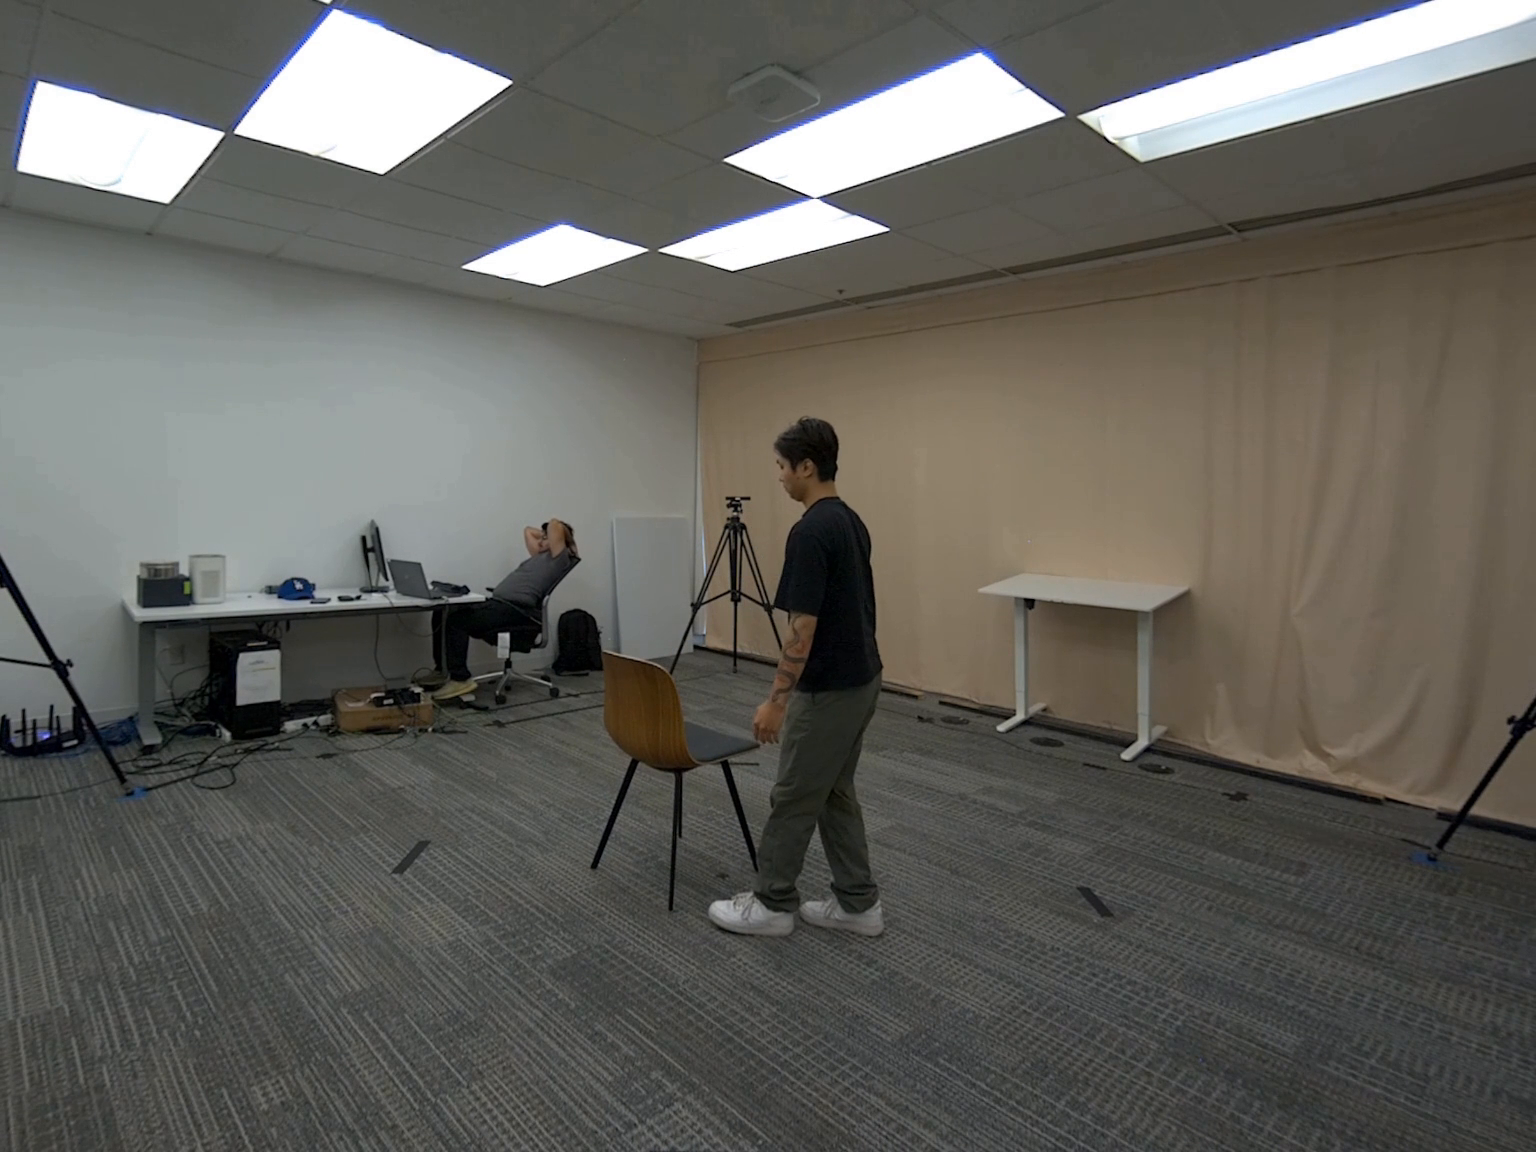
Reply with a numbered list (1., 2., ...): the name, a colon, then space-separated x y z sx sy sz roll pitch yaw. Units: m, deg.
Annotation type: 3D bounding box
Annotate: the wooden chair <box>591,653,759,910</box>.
1. wooden chair: -0.332 0.671 3.122 0.490 0.873 0.512 4 8 43
